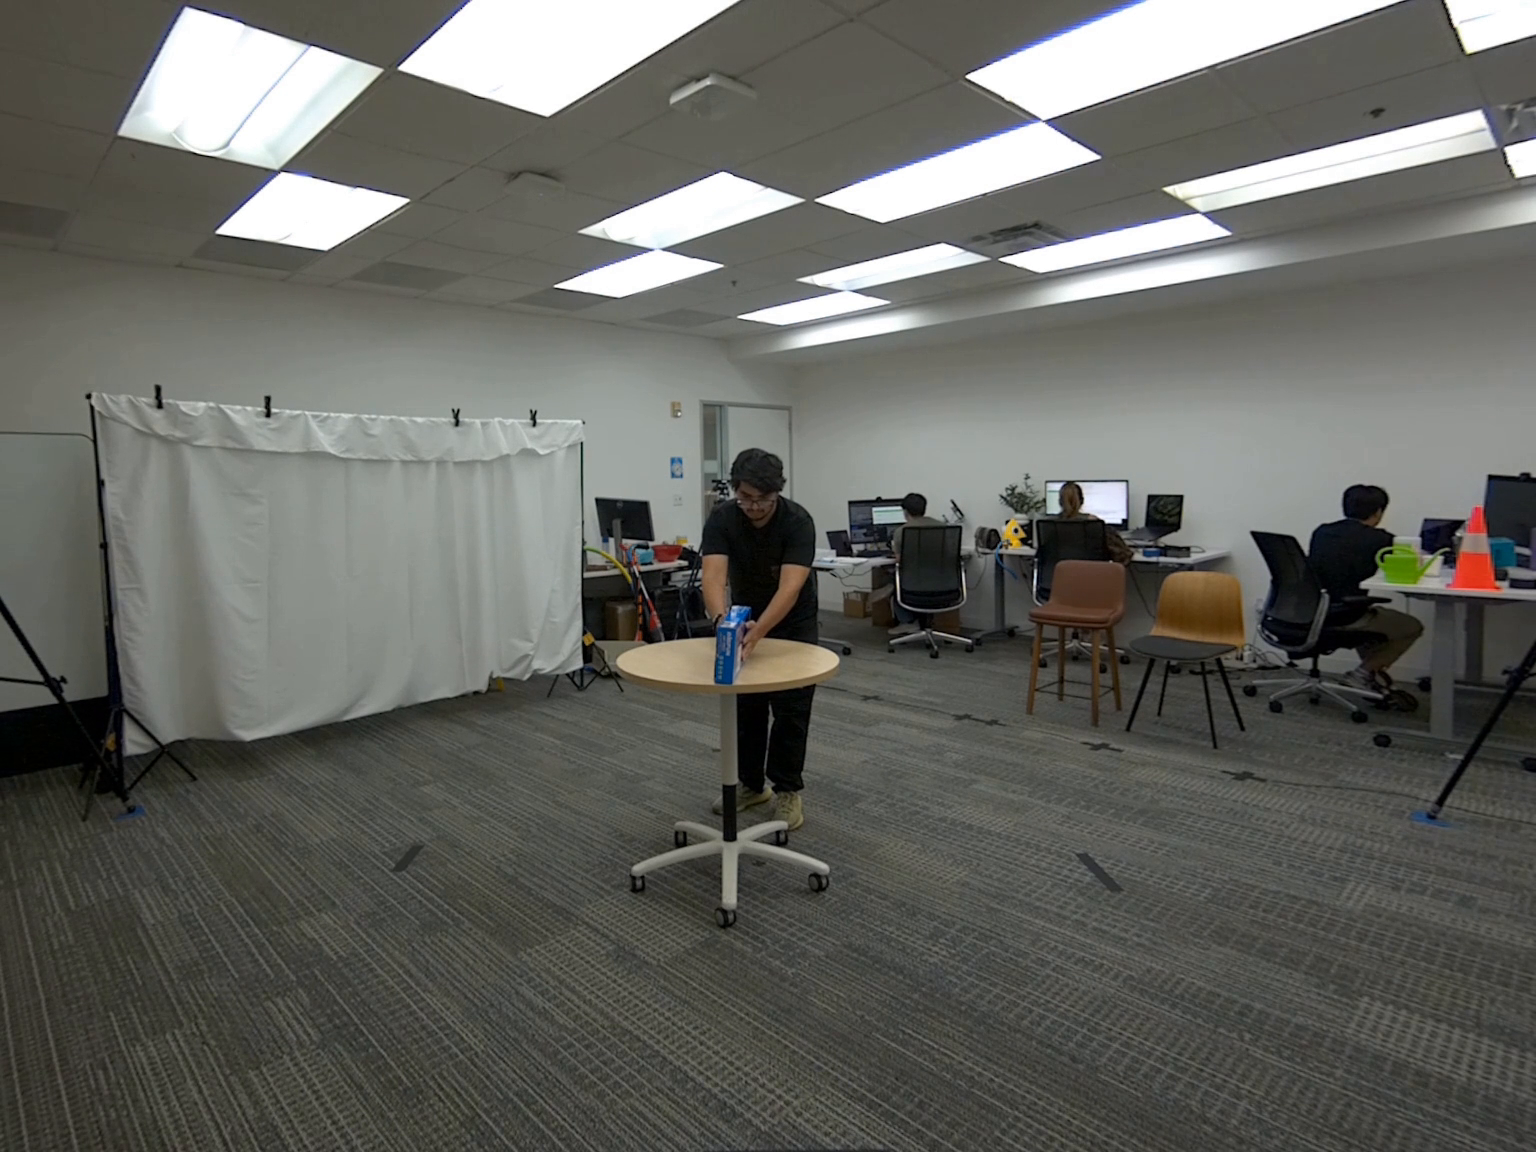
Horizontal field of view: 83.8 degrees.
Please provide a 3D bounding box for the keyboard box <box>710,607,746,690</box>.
[{"bbox_3d":[-0.126,0.224,2.782,0.059,0.175,0.436,-1,7,4],"label":"keyboard box"}]
